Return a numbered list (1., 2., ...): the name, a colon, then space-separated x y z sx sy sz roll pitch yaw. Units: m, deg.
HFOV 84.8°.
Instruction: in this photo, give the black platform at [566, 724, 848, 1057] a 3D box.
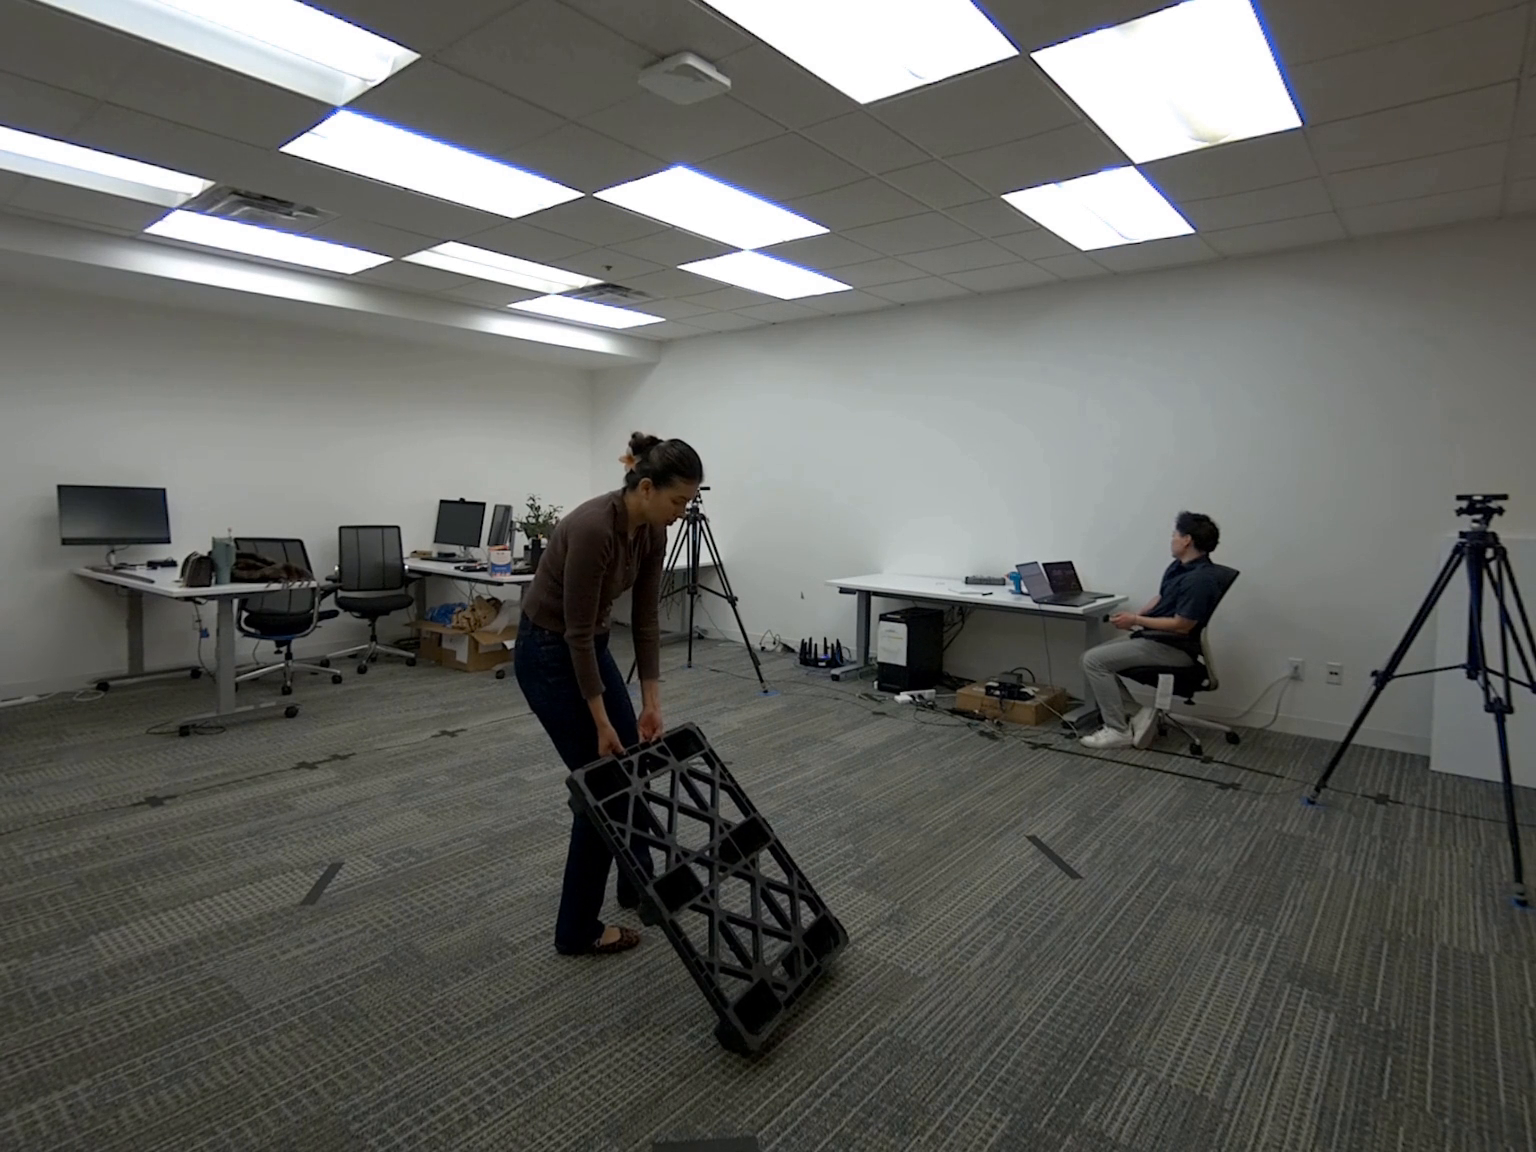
1. black platform: -0.182 0.827 2.407 0.143 0.826 0.590 -47 -19 23
